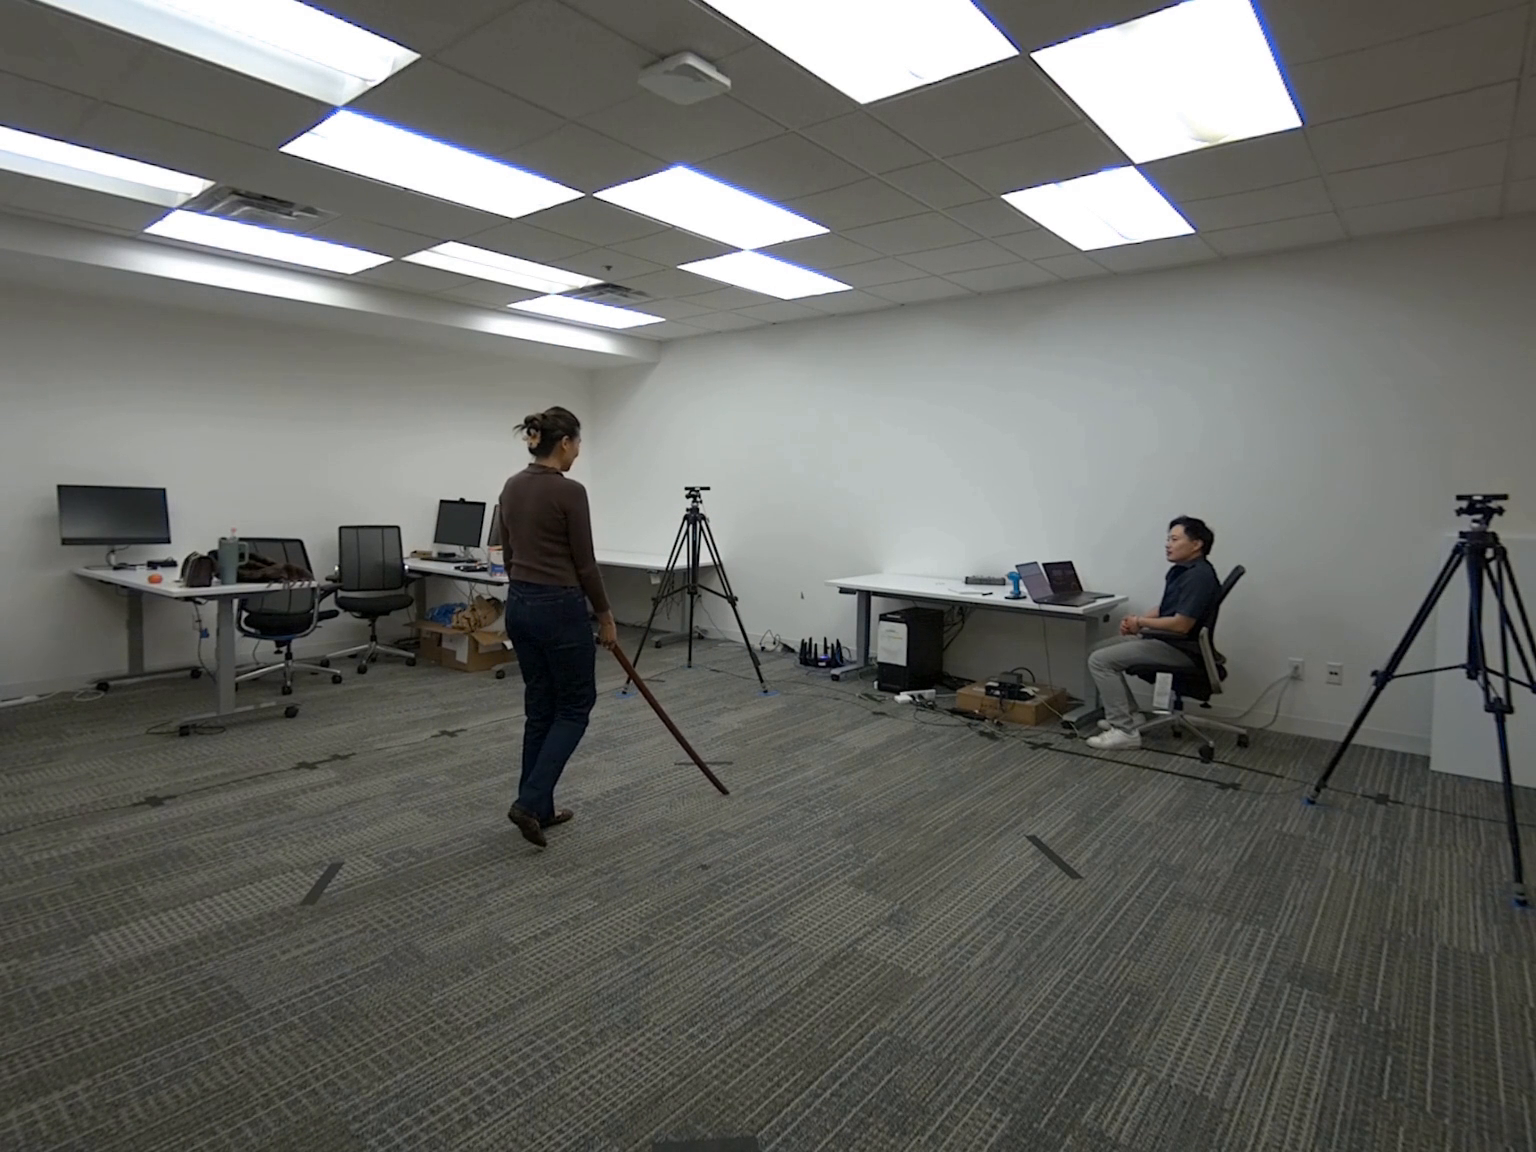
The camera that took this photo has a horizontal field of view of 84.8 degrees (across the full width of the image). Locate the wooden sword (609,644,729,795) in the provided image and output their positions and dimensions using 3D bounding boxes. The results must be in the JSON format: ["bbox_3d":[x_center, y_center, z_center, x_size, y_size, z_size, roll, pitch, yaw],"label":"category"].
[{"bbox_3d":[-0.449,0.617,3.671,0.053,0.994,0.024,0,40,50],"label":"wooden sword"}]
